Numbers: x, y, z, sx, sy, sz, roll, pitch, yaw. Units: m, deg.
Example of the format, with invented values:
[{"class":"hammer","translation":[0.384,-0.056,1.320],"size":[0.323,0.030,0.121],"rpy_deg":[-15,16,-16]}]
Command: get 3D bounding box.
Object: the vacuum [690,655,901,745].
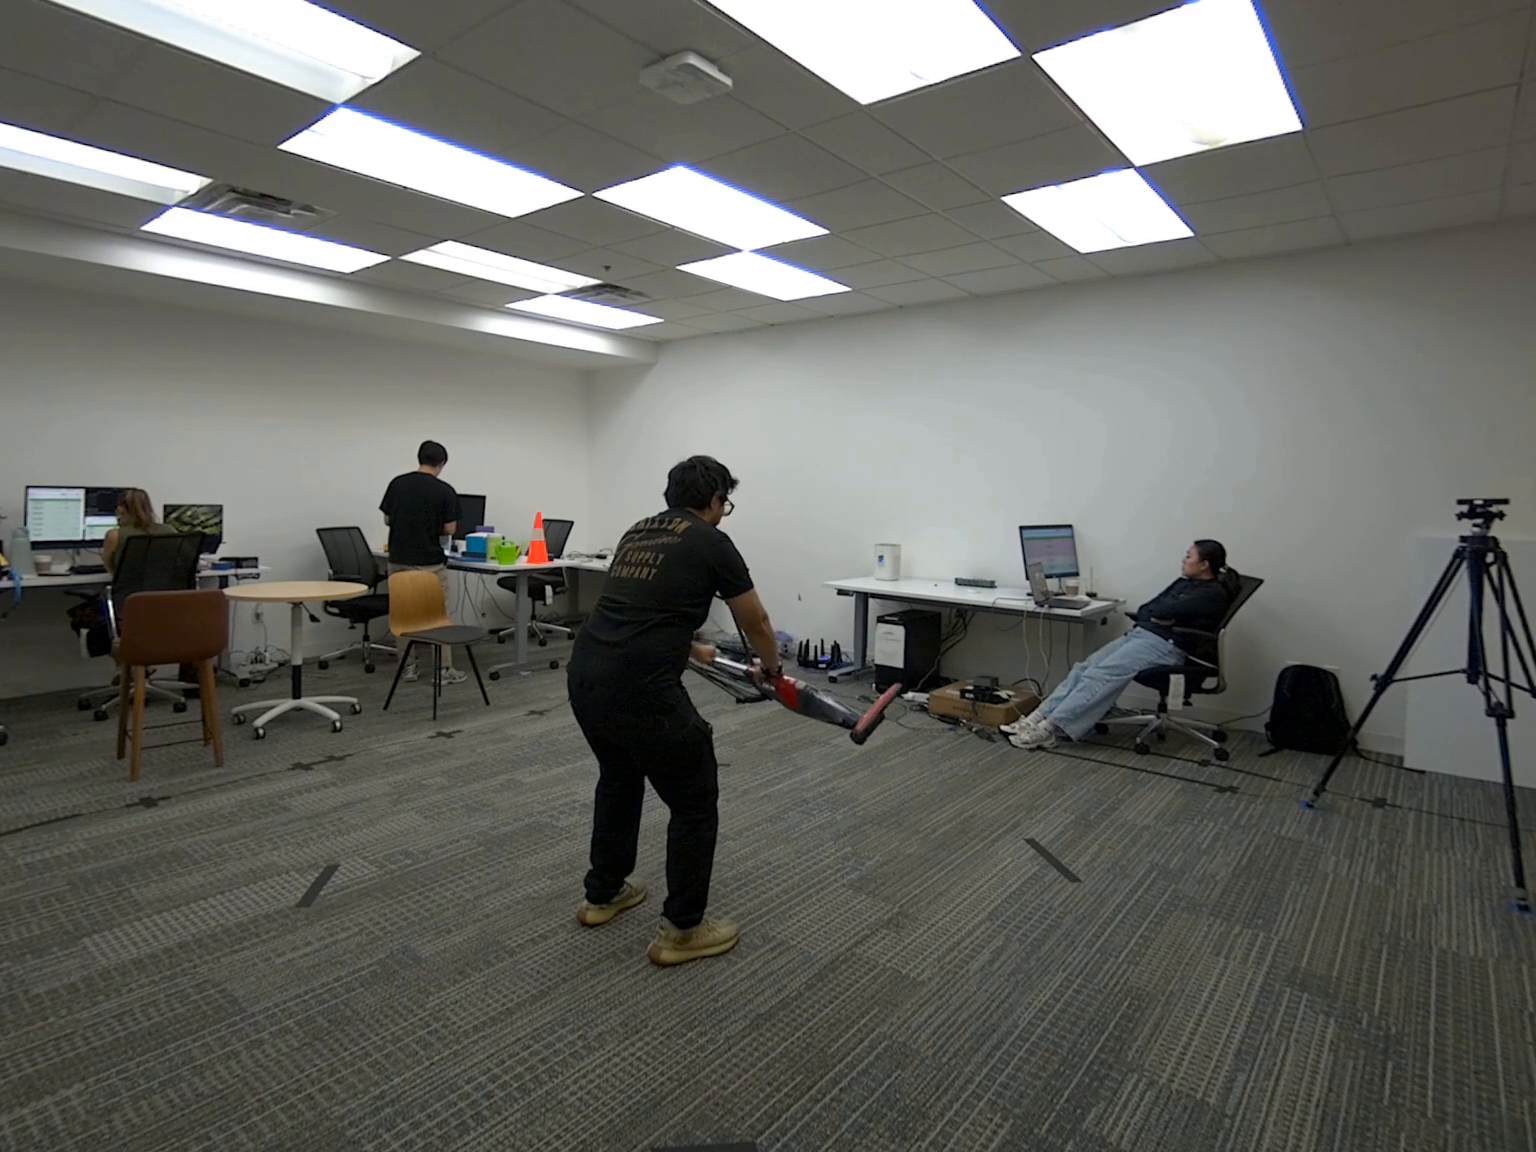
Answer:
[{"class":"vacuum","translation":[-0.077,0.372,3.018],"size":[1.088,0.140,0.250],"rpy_deg":[12,37,40]}]
